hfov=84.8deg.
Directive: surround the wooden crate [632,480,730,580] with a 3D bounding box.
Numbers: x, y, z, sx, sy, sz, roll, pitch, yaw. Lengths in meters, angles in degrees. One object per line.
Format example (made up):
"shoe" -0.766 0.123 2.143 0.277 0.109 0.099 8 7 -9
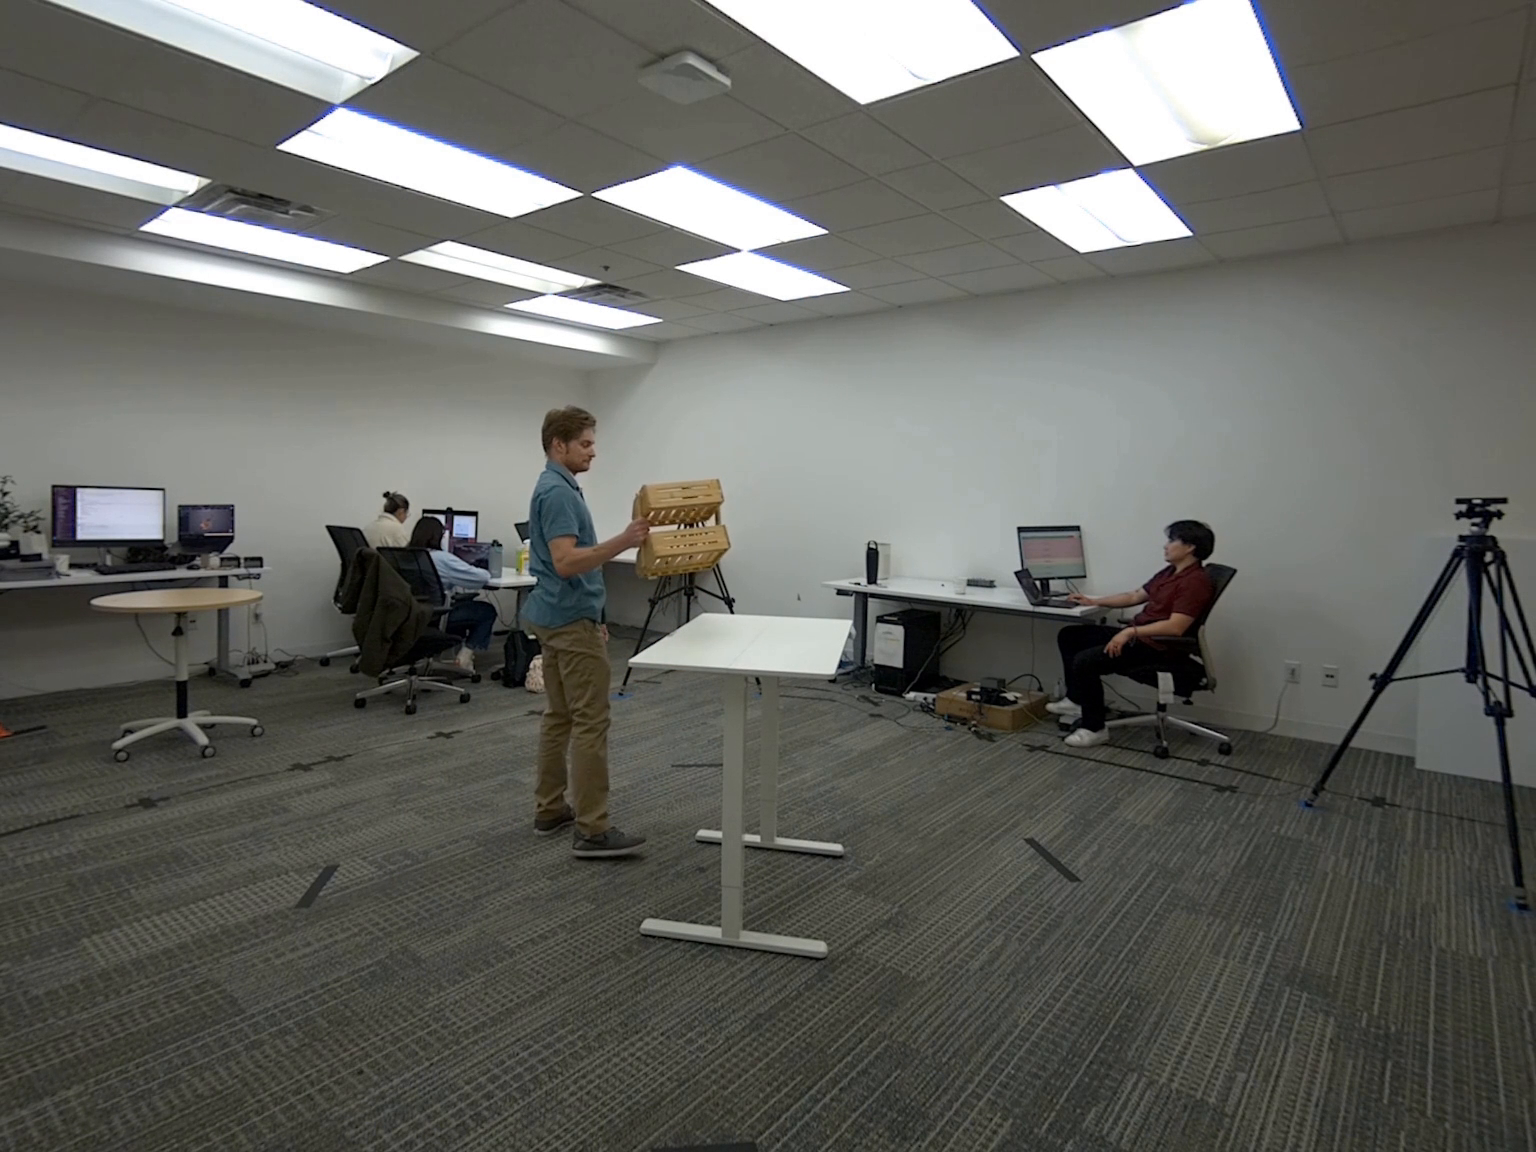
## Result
"wooden crate" -0.352 -0.181 3.227 0.317 0.279 0.302 -7 -19 -25
